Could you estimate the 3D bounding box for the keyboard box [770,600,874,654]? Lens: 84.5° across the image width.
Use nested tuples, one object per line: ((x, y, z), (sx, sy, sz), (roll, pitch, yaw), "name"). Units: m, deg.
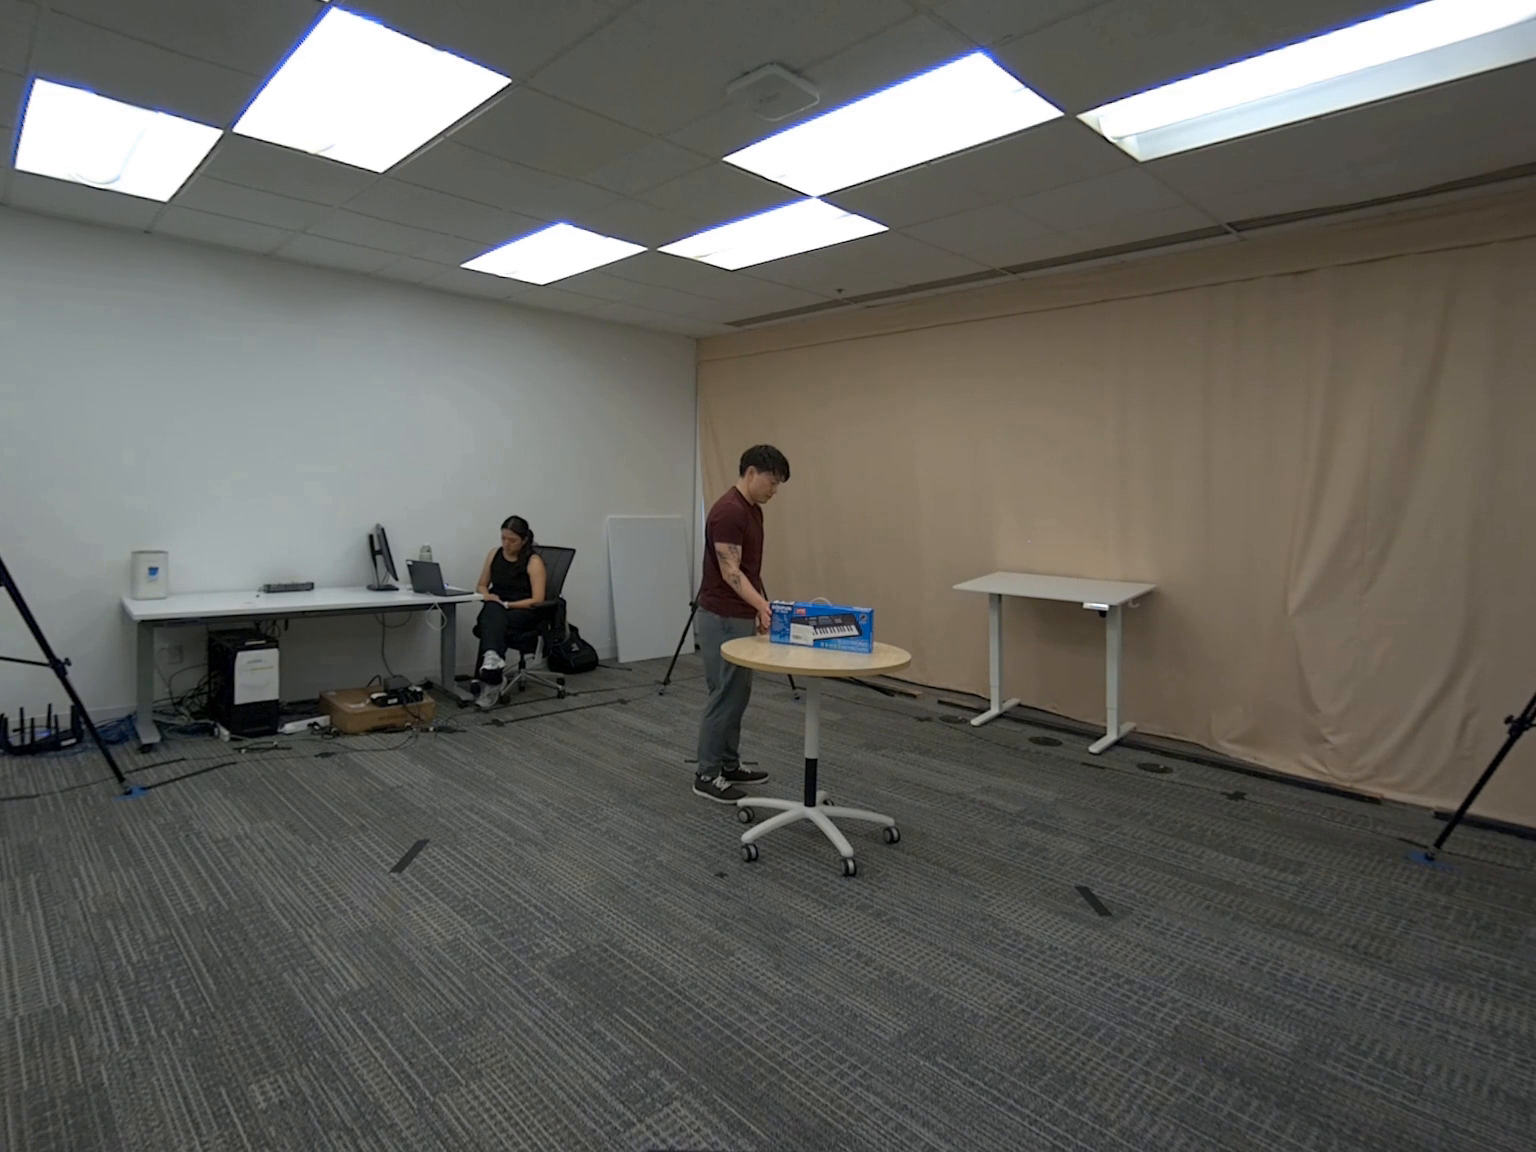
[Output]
((0.216, 0.209, 3.490), (0.445, 0.174, 0.058), (4, 11, 25), "keyboard box")
